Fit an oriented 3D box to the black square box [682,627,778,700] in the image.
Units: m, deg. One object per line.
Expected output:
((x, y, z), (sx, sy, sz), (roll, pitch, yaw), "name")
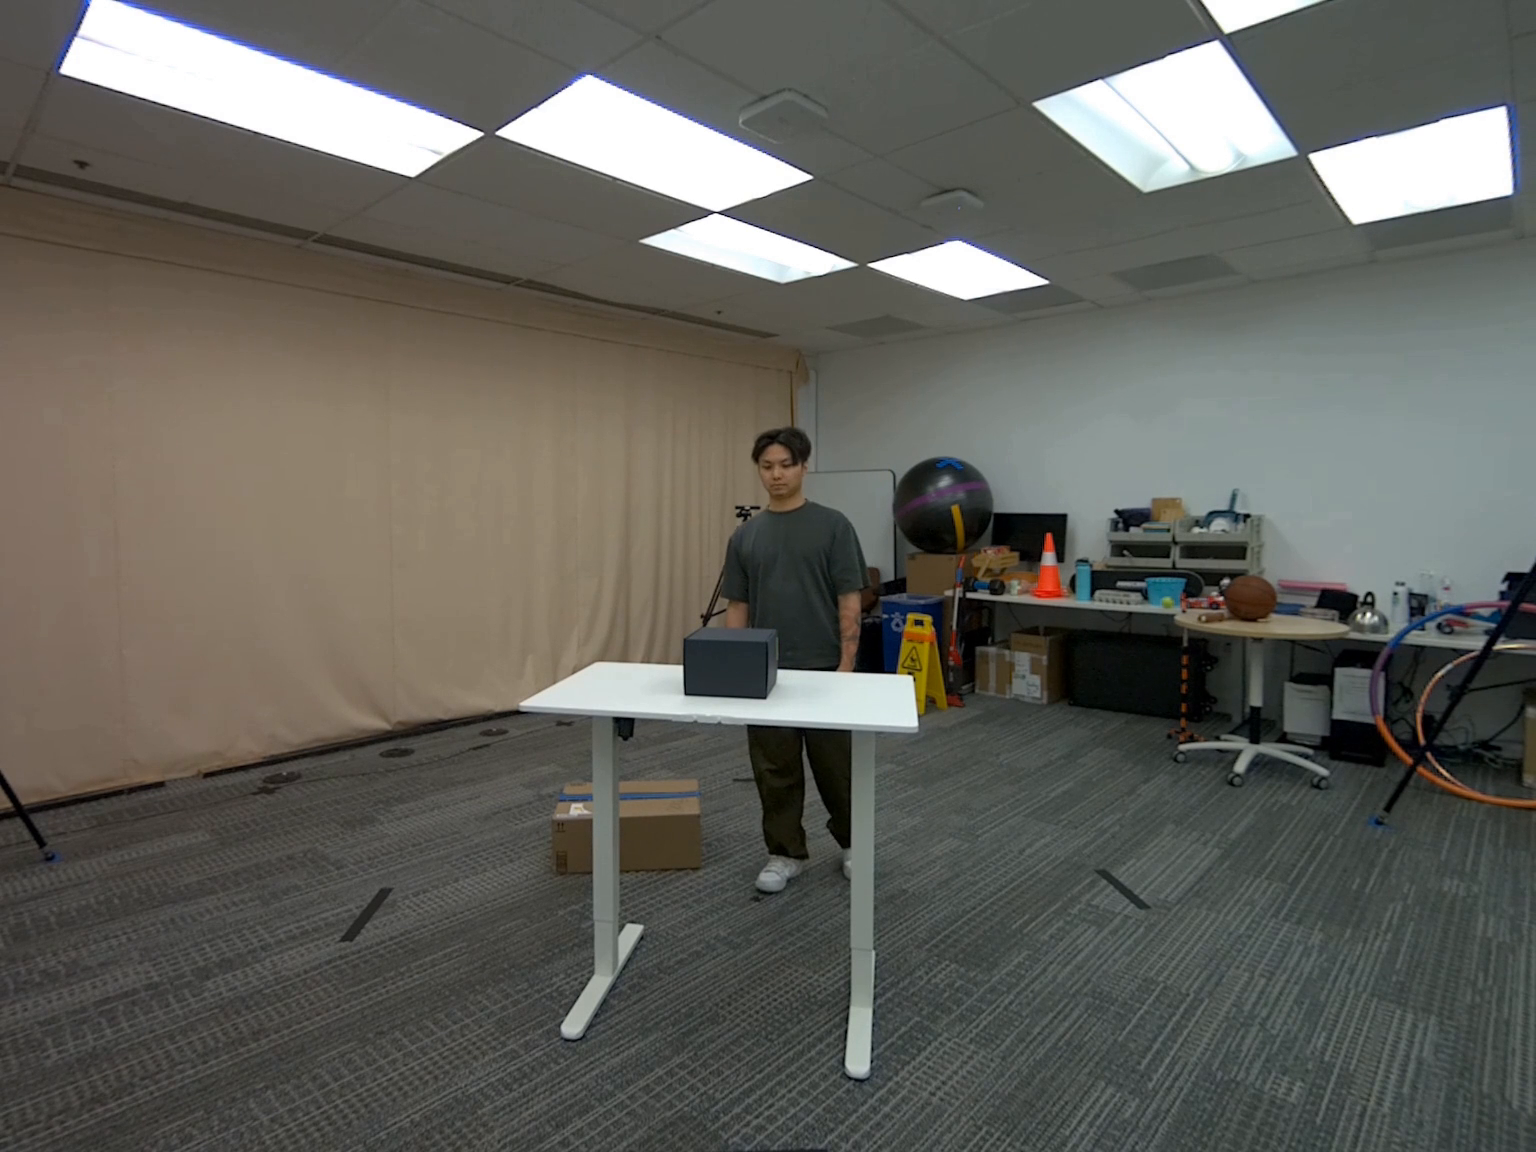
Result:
((-0.096, 0.236, 2.340), (0.231, 0.155, 0.215), (2, 5, 11), "black square box")
